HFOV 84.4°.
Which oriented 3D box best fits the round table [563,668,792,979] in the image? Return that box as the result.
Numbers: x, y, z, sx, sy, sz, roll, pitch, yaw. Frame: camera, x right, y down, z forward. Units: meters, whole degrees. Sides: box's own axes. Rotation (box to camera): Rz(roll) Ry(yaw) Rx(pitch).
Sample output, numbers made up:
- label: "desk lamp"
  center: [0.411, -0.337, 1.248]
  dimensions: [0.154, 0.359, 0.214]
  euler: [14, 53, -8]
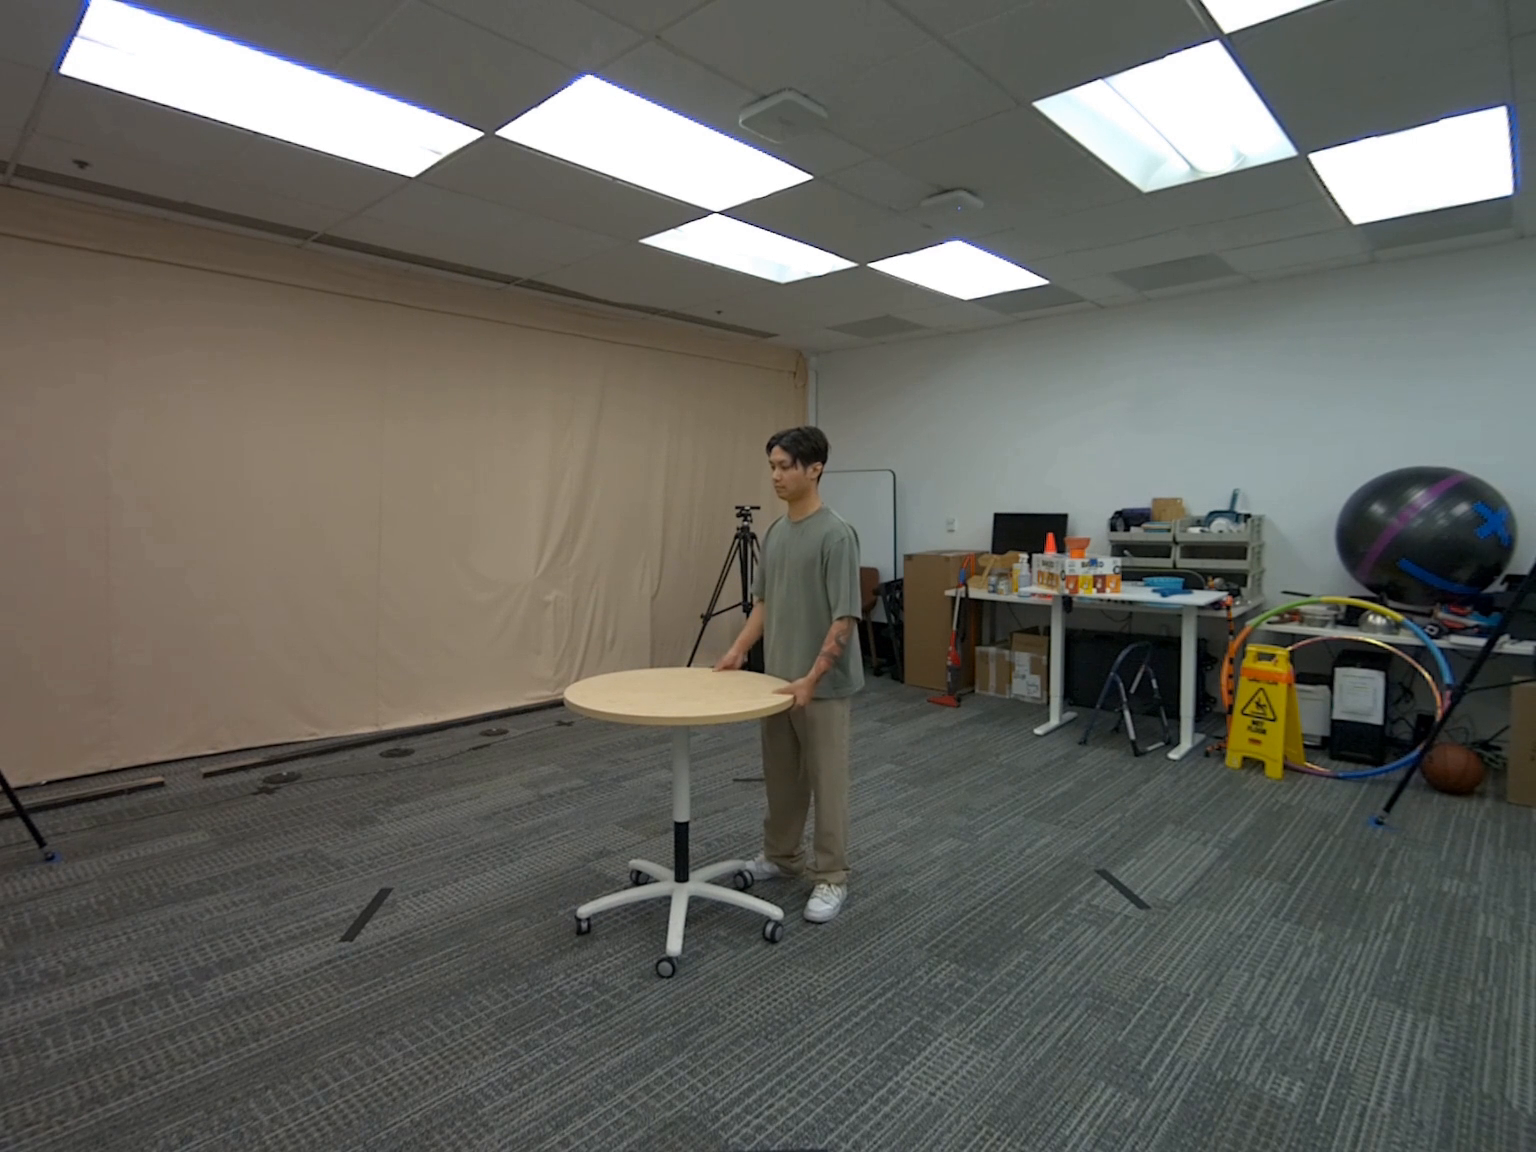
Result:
- label: "round table"
  center: [-0.295, 0.768, 2.799]
  dimensions: [0.784, 0.785, 0.787]
  euler: [0, 3, -2]
